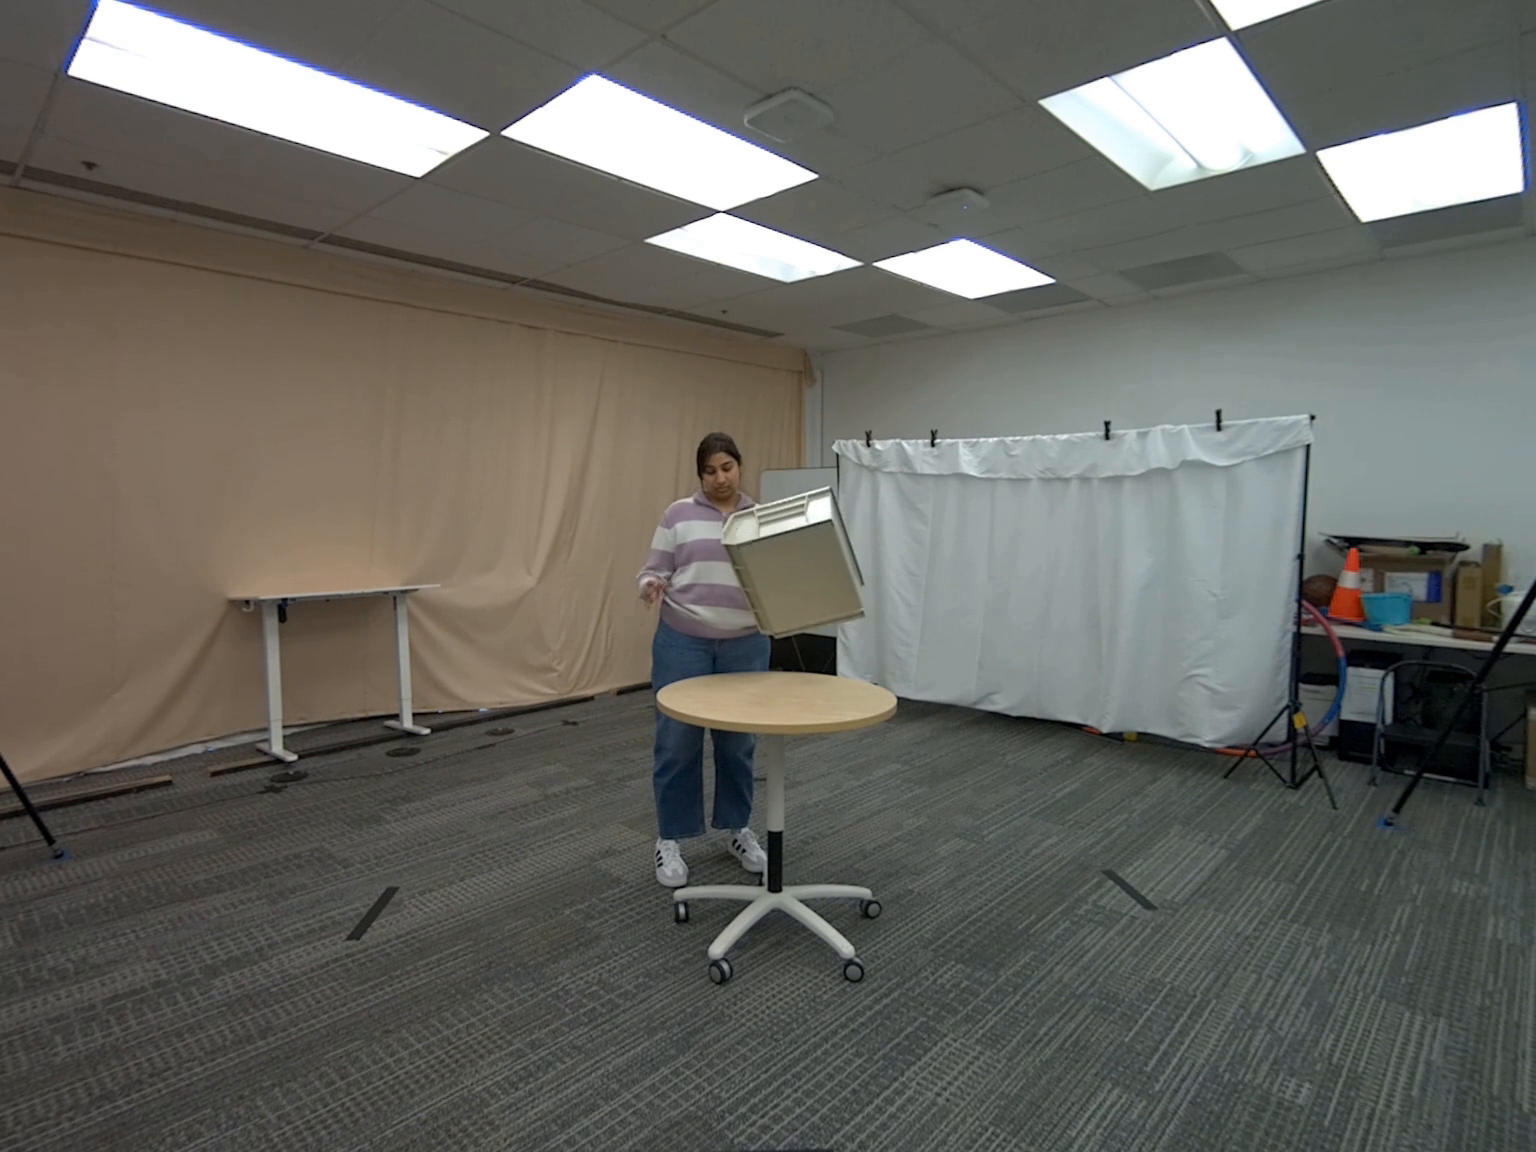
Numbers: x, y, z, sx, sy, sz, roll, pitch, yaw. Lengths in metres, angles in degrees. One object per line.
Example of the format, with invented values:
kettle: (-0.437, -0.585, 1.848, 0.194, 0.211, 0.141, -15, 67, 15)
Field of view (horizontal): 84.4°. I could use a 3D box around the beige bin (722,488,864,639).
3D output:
beige bin: (0.095, -0.028, 2.783, 0.382, 0.411, 0.192, -14, 34, 13)
